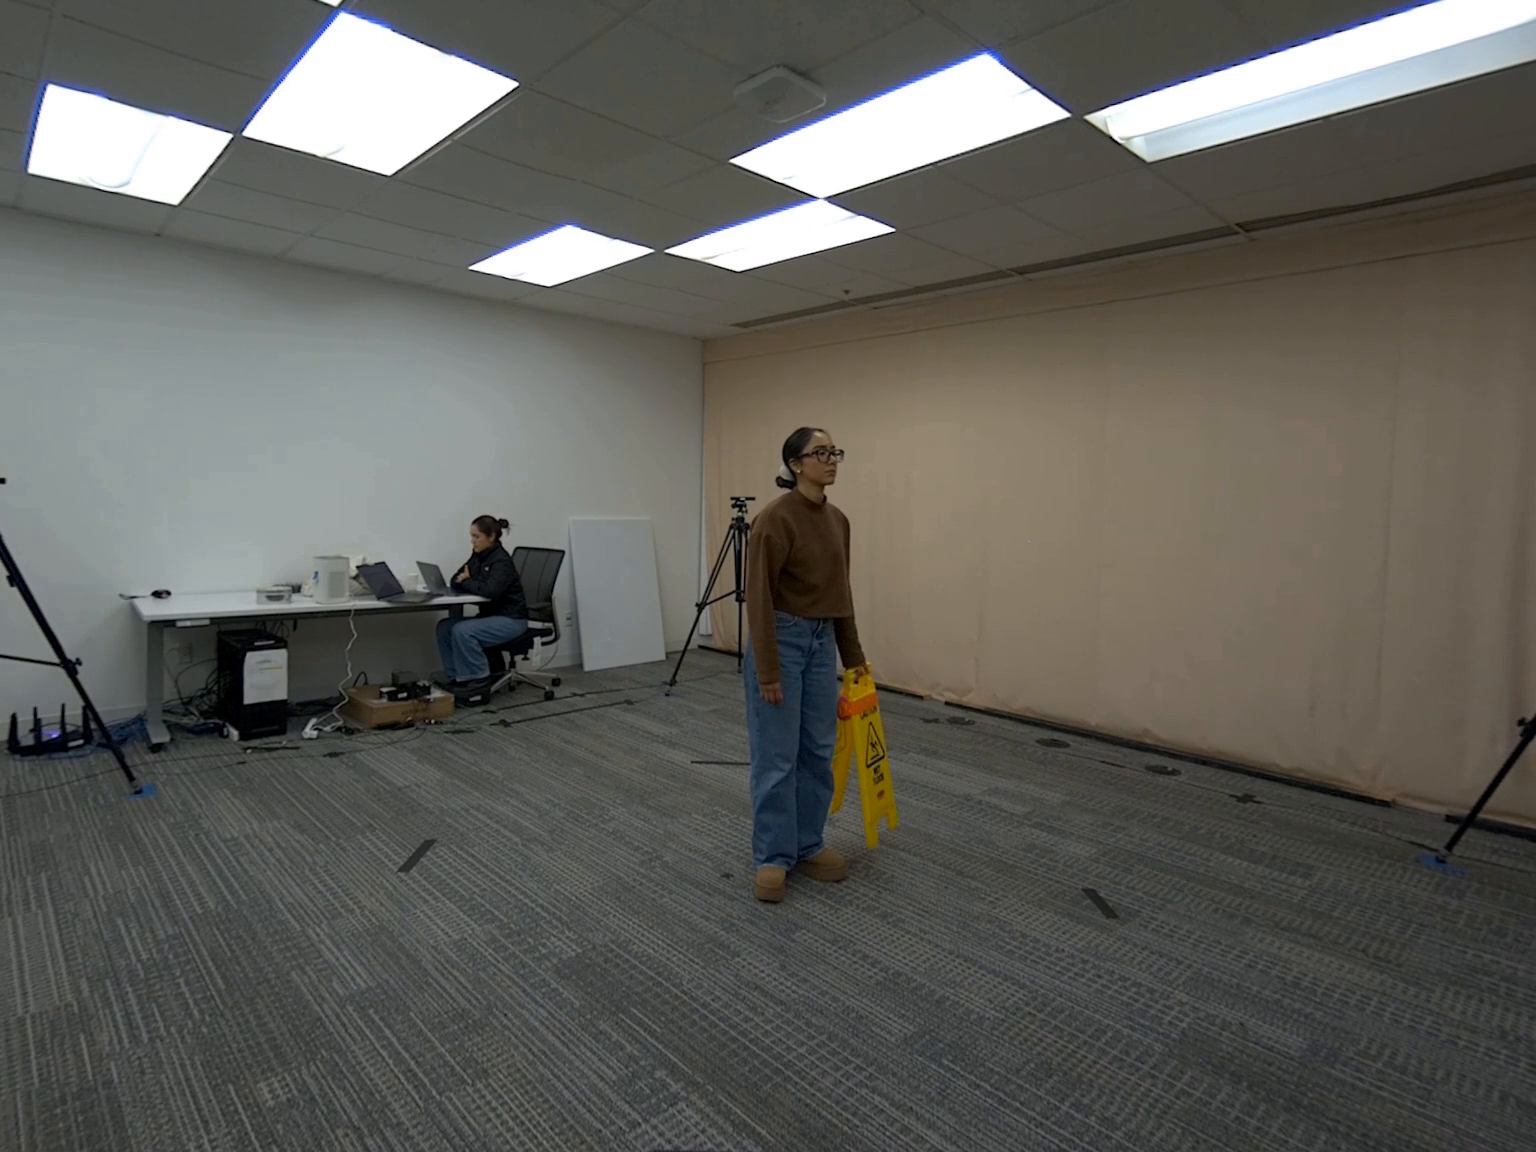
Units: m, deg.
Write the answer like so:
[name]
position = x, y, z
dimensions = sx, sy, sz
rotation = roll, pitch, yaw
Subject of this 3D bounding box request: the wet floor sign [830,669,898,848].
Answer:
[wet floor sign]
position = 0.333, 0.670, 3.288
dimensions = 0.296, 0.644, 0.276
rotation = 3, 4, 32
